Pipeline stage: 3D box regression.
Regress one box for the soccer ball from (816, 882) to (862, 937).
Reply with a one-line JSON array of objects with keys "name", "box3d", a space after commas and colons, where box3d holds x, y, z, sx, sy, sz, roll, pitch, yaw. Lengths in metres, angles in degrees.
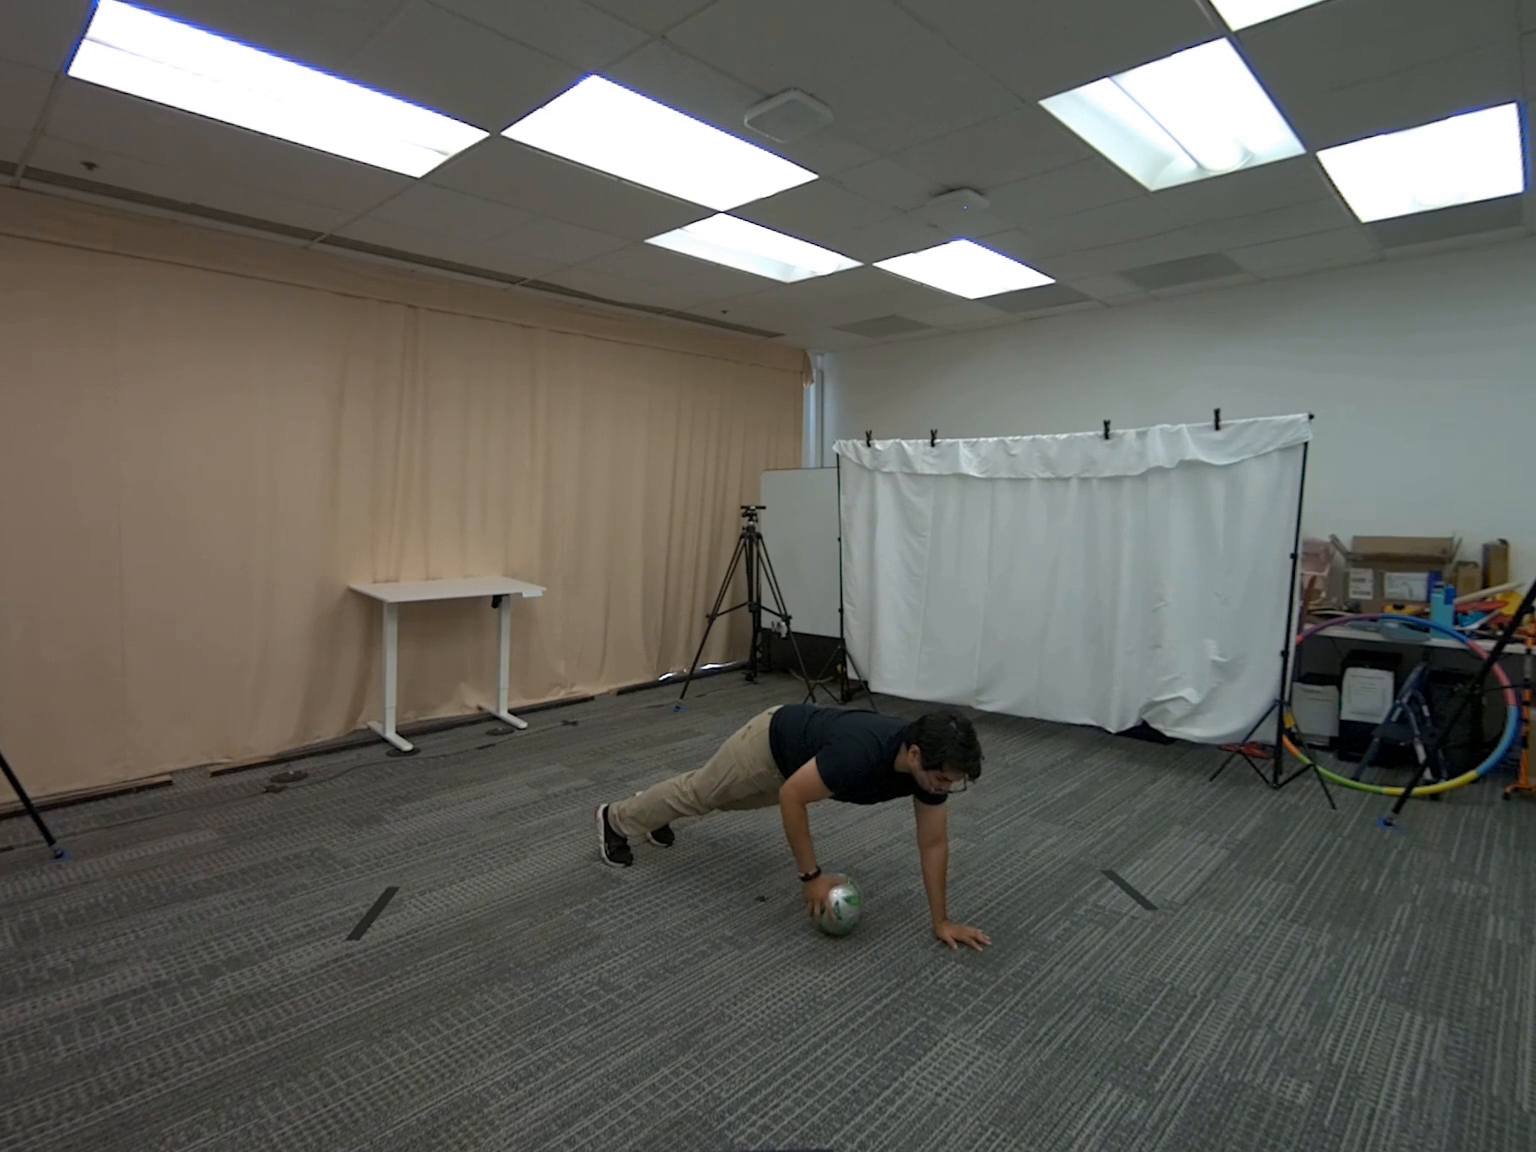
[{"name": "soccer ball", "box3d": [0.209, 1.064, 2.734, 0.187, 0.187, 0.188, 0, 4, -2]}]
